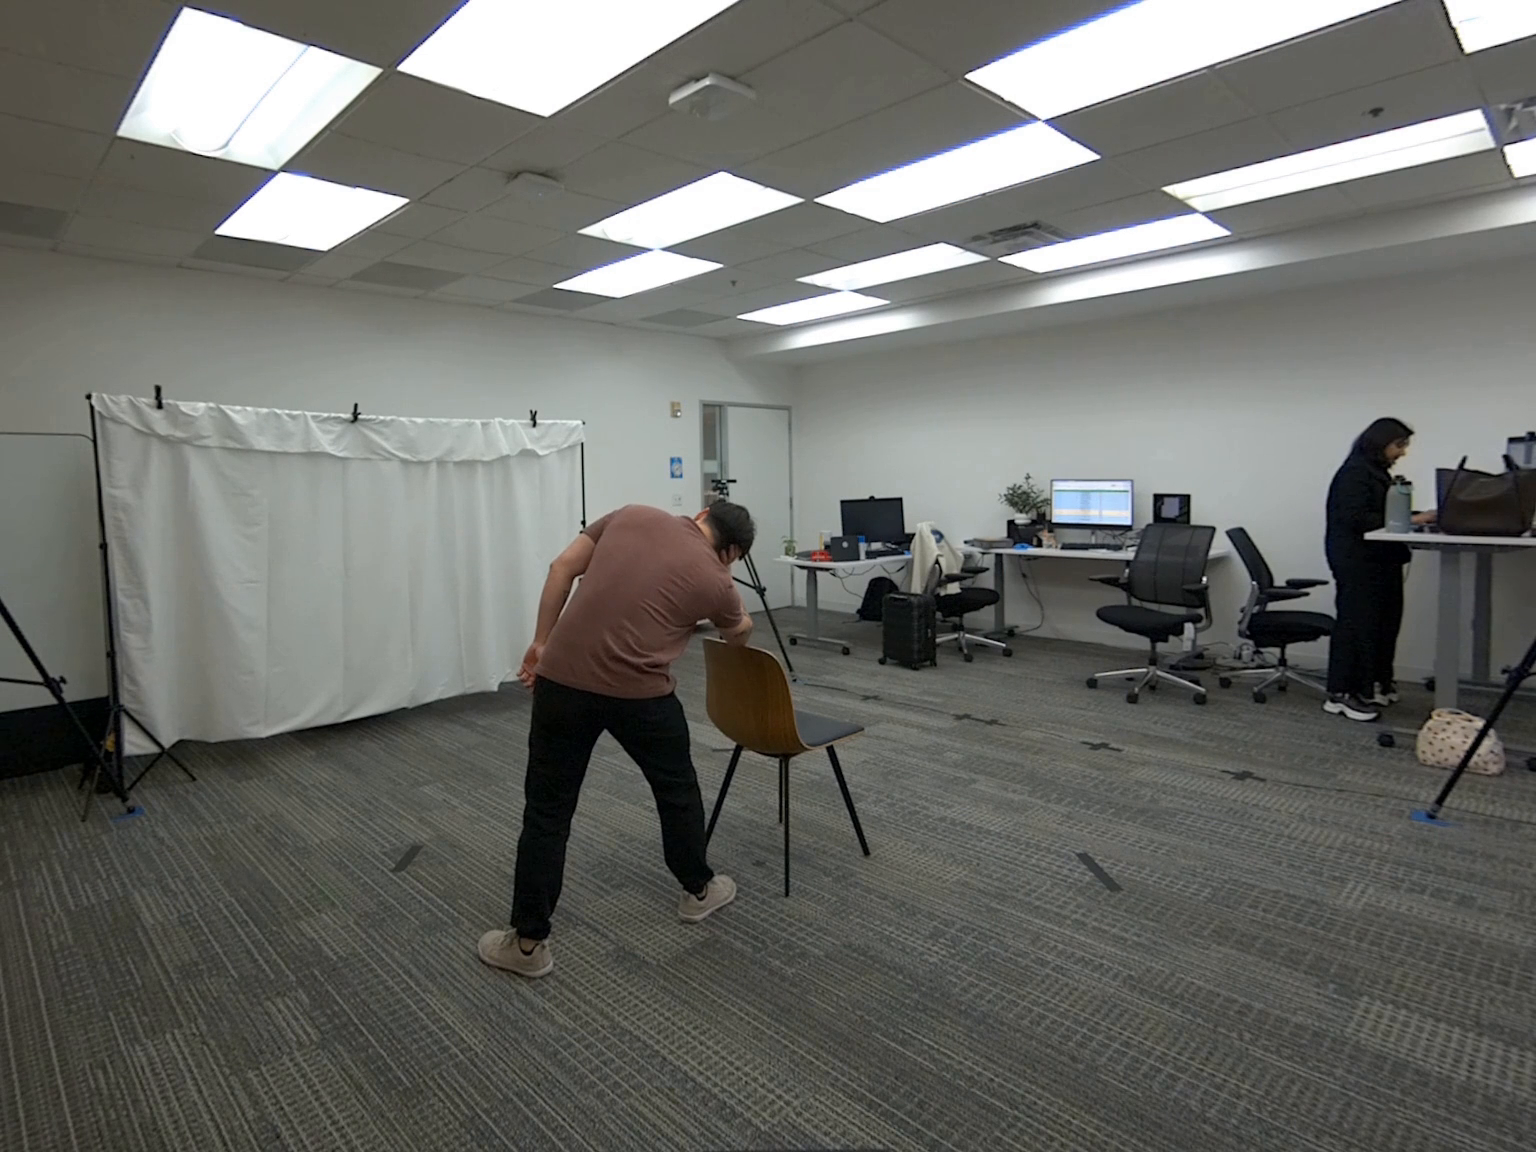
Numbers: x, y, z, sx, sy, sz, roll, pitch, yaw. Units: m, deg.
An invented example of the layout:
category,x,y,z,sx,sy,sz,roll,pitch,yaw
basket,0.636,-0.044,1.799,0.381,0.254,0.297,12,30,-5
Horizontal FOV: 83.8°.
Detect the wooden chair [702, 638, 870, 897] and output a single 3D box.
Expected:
category,x,y,z,sx,sy,sz,roll,pitch,yaw
wooden chair,0.059,0.613,3.146,0.511,0.871,0.493,-11,10,-44
